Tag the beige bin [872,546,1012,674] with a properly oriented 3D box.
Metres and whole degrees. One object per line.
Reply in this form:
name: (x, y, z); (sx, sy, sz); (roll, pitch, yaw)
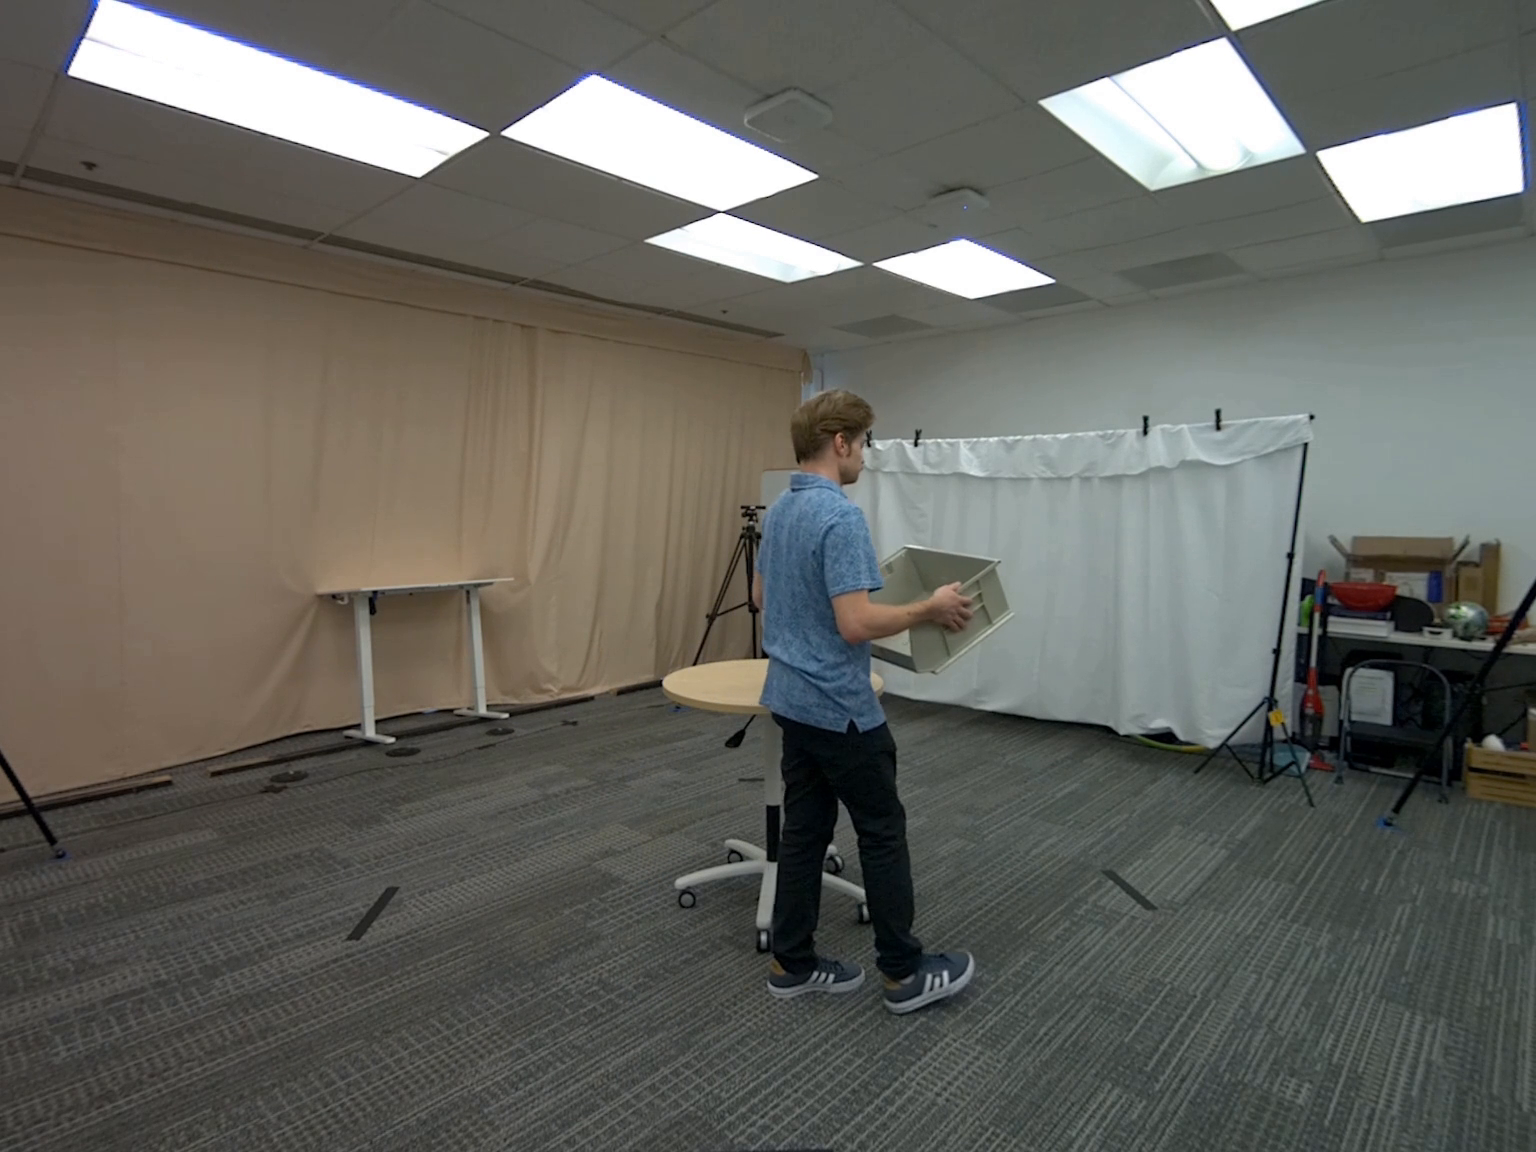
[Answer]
beige bin: (0.449, 0.101, 2.502); (0.373, 0.185, 0.435); (-33, 21, -21)
